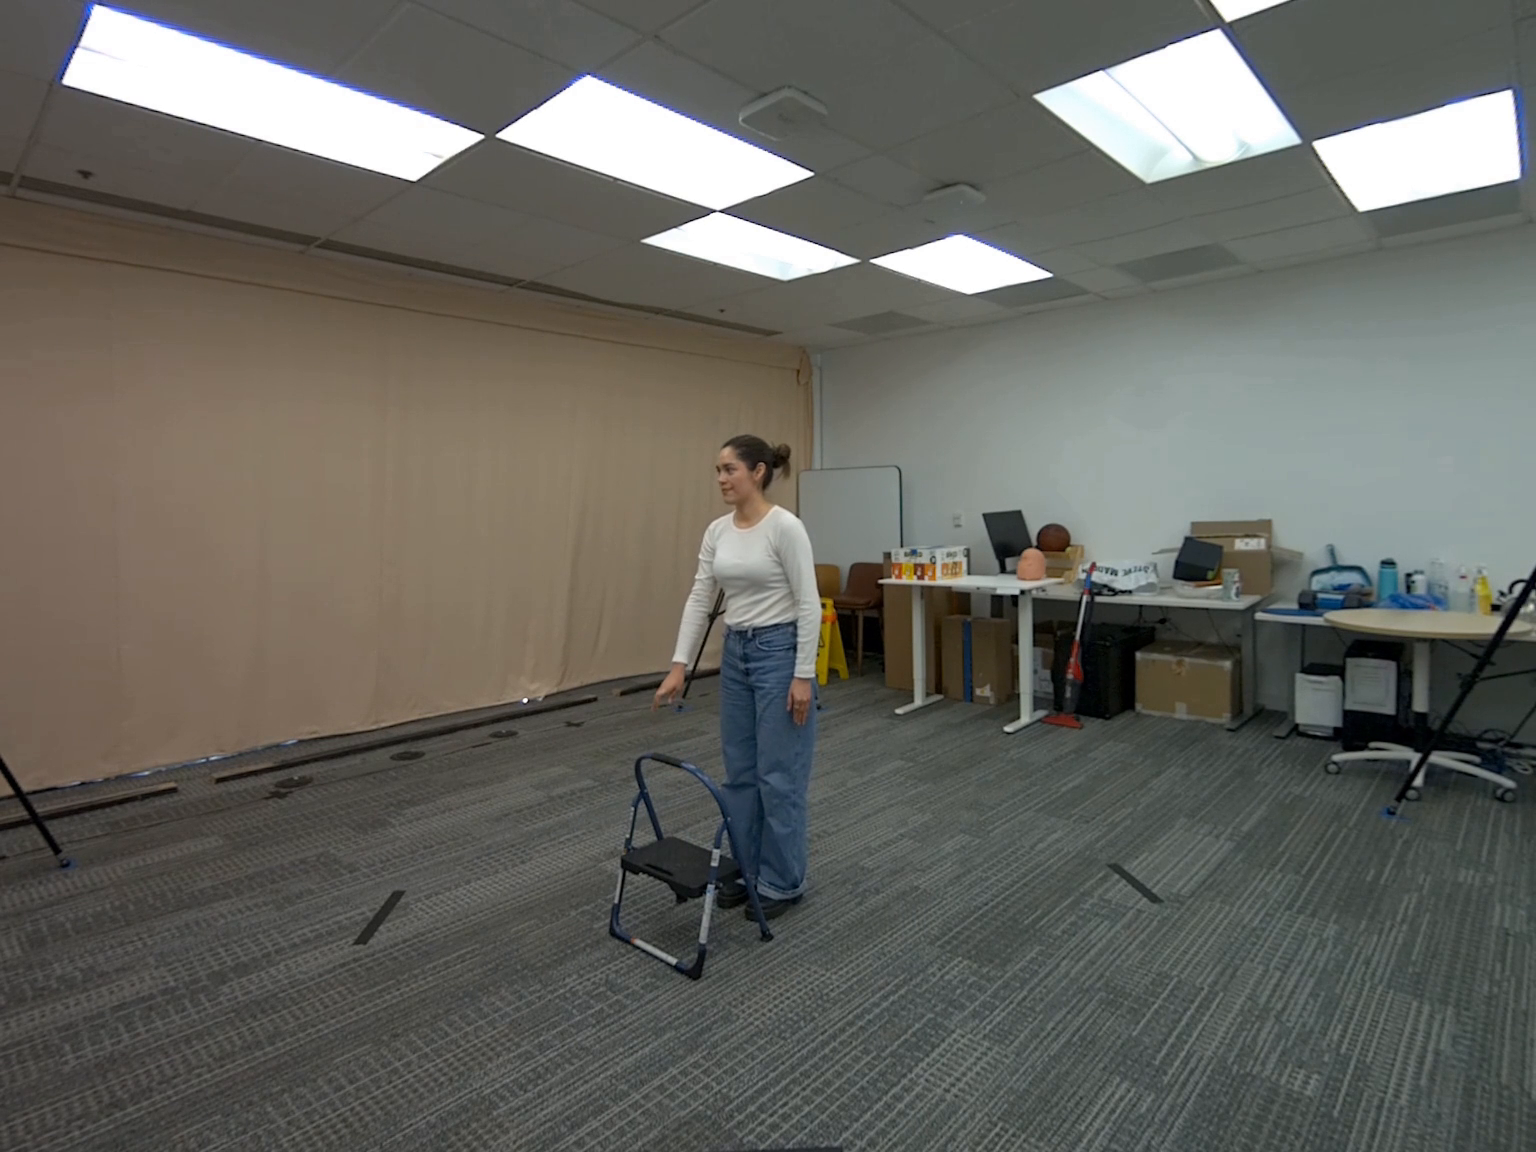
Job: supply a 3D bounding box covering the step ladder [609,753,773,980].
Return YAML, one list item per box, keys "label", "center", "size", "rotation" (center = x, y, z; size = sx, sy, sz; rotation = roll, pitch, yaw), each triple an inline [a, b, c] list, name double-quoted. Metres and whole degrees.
- label: "step ladder"
  center: [-0.256, 0.863, 2.714]
  size: [0.445, 0.605, 0.338]
  rotation: [2, 4, 42]
